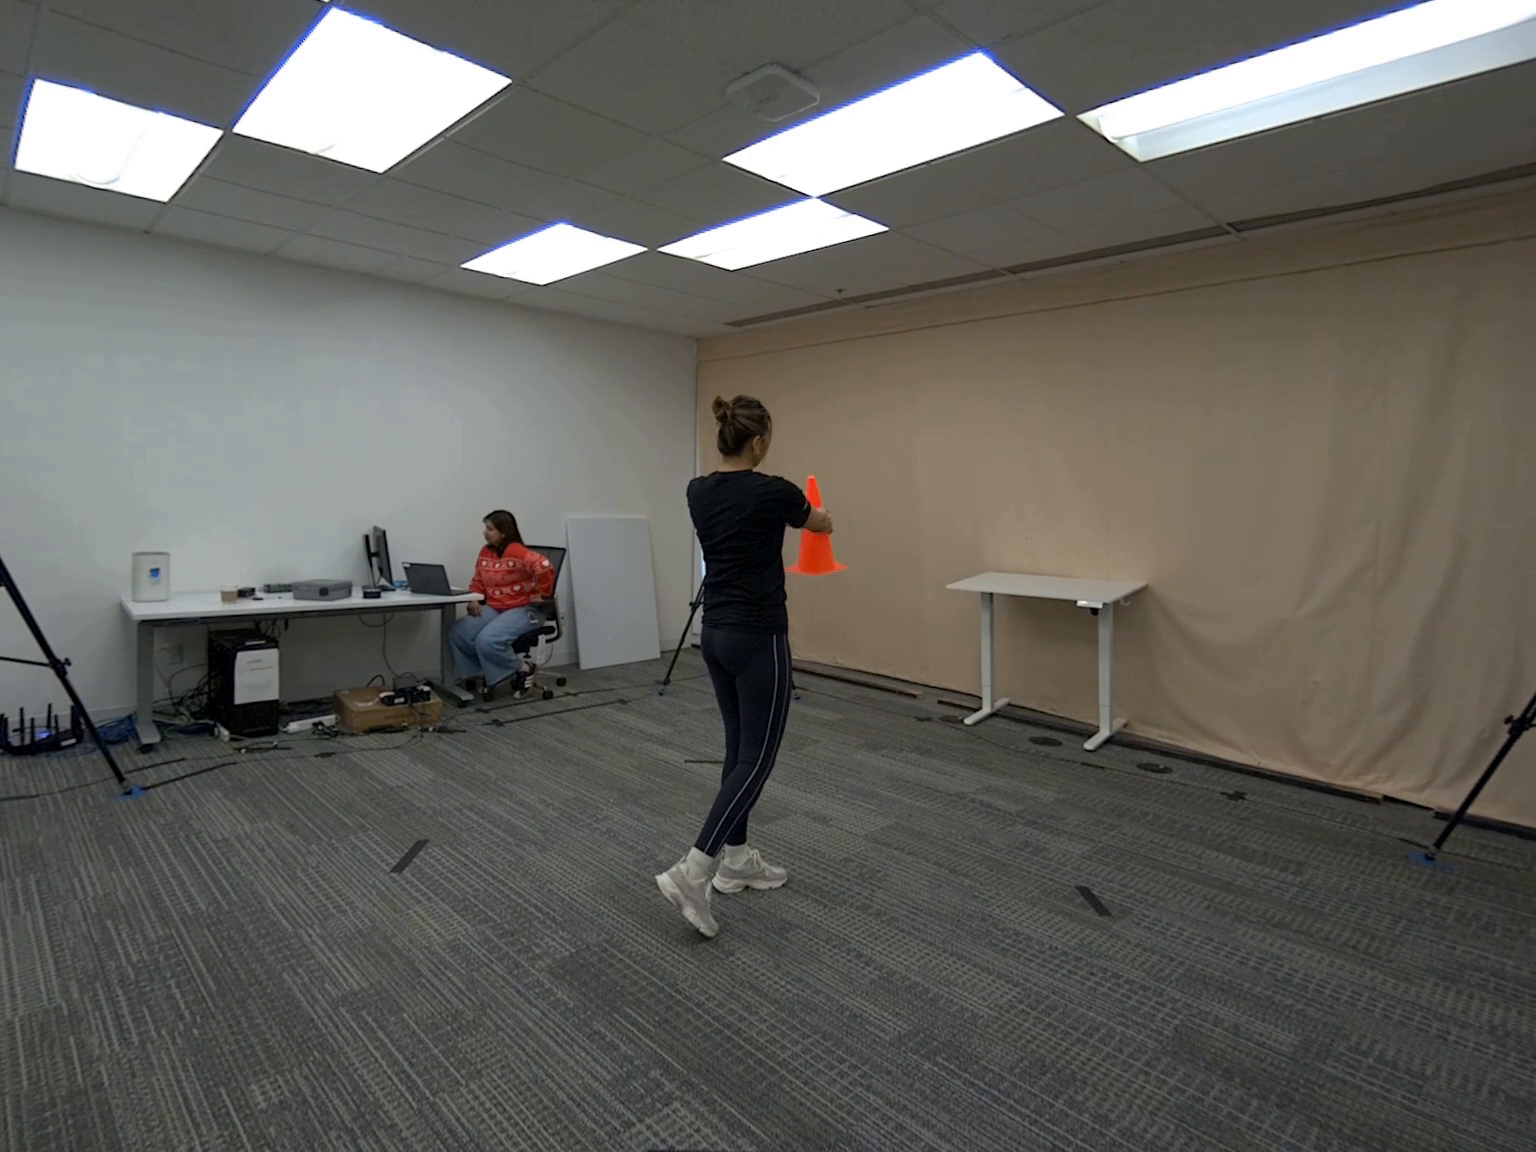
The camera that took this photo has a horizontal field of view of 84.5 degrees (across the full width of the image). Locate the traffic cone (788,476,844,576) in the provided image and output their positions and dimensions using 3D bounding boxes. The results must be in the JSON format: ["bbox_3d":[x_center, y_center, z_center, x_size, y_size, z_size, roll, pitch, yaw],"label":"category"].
[{"bbox_3d":[0.184,-0.215,3.433,0.200,0.380,0.210,-14,16,-41],"label":"traffic cone"}]
